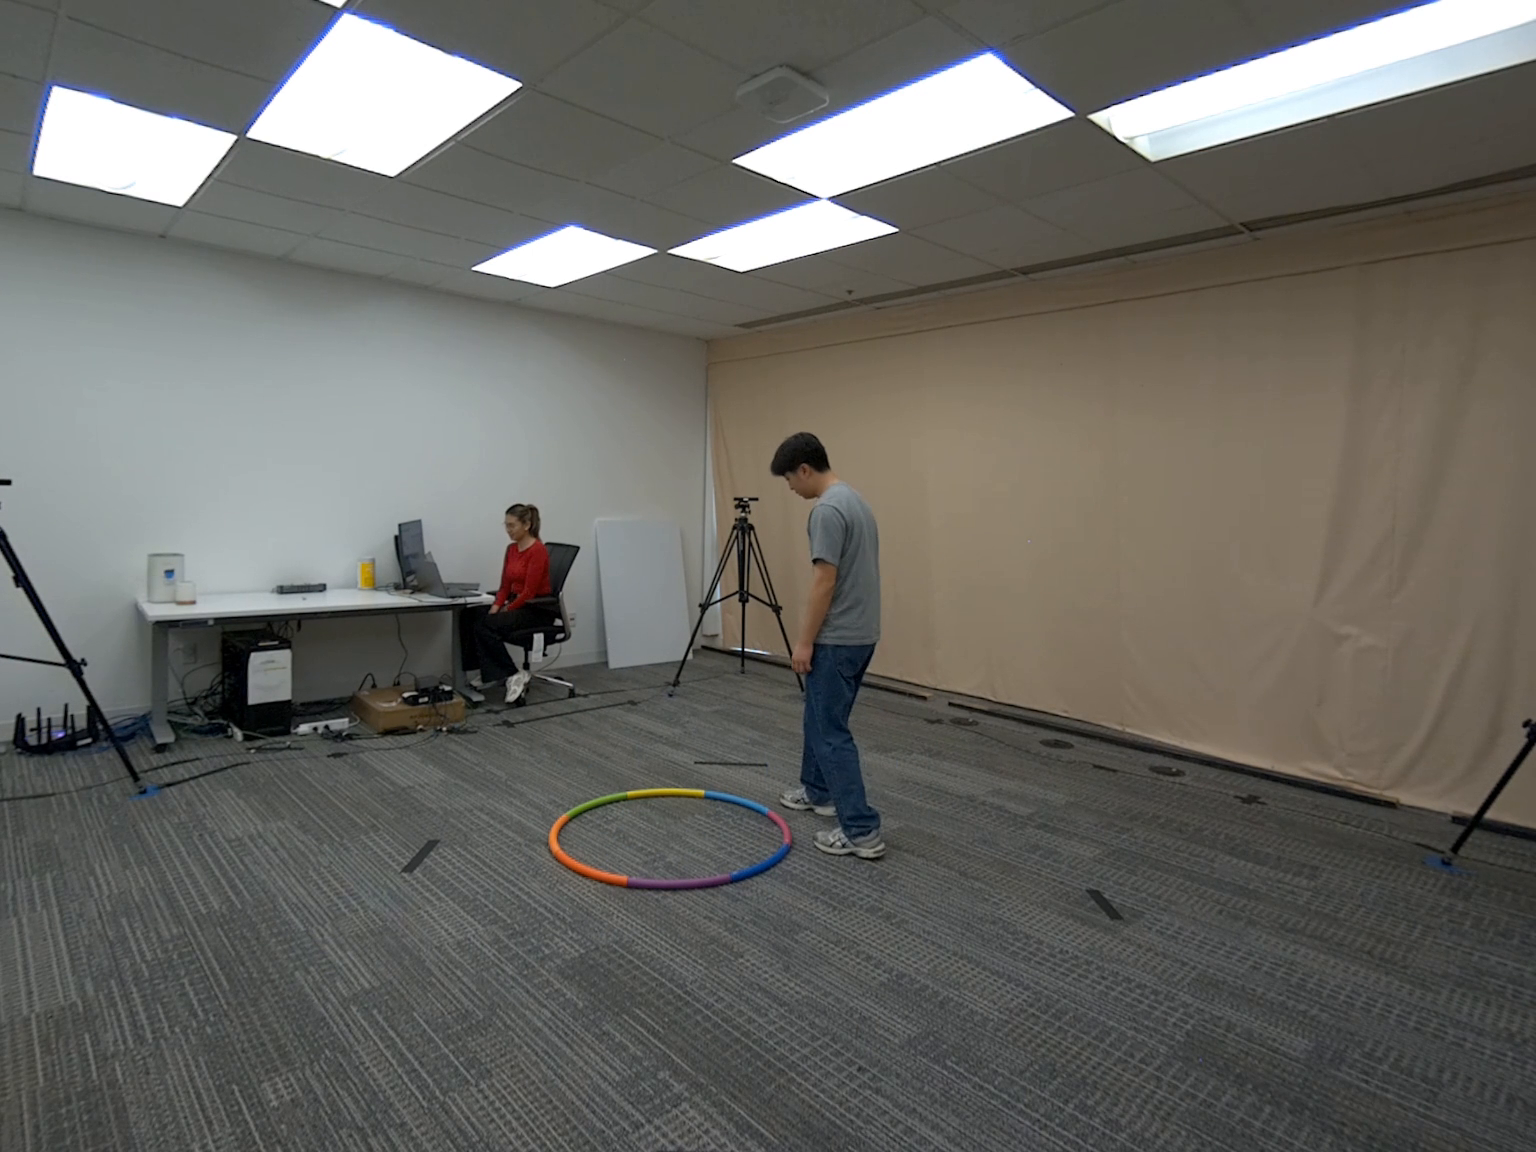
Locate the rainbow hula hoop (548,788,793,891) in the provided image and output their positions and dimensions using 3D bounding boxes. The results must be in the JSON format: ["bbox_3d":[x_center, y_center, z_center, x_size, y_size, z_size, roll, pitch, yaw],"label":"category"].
[{"bbox_3d":[-0.409,1.041,3.462,0.978,0.035,0.982,1,5,-1],"label":"rainbow hula hoop"}]
